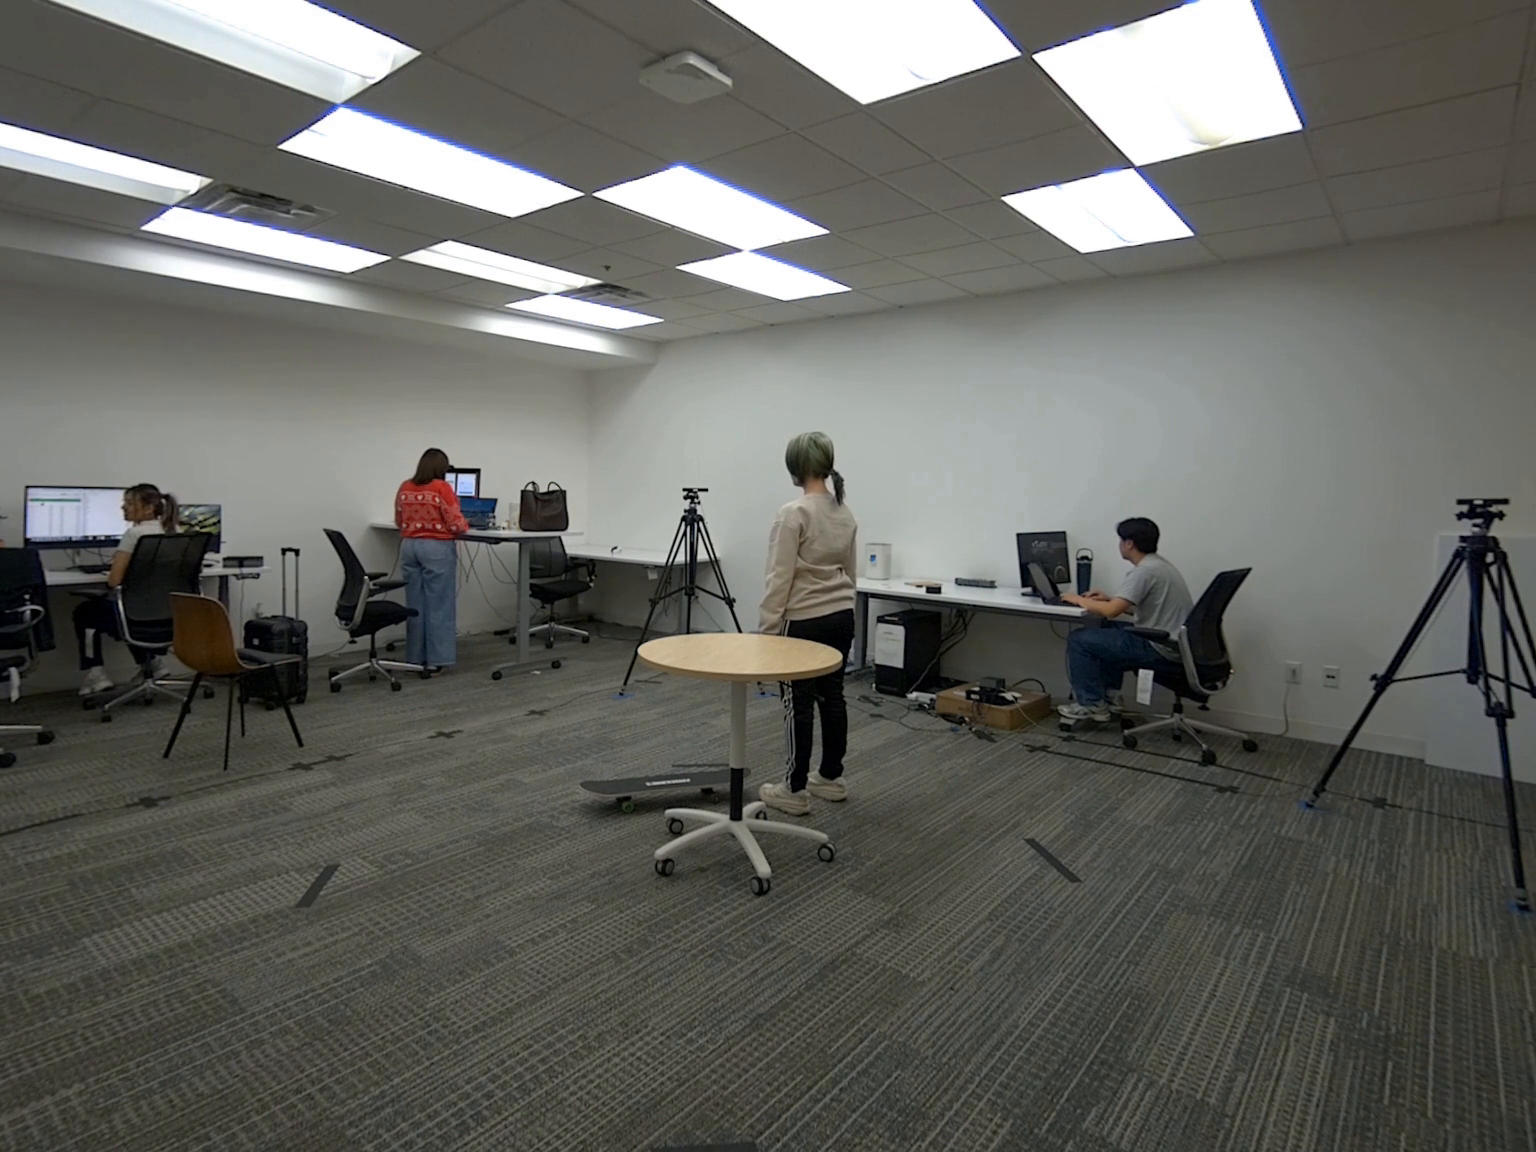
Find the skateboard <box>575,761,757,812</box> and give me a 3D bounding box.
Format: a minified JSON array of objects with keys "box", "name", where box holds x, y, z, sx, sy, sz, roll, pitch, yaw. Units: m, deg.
[{"box":[-0.454,0.936,3.773,0.770,0.110,0.197,0,2,-20],"name":"skateboard"}]
